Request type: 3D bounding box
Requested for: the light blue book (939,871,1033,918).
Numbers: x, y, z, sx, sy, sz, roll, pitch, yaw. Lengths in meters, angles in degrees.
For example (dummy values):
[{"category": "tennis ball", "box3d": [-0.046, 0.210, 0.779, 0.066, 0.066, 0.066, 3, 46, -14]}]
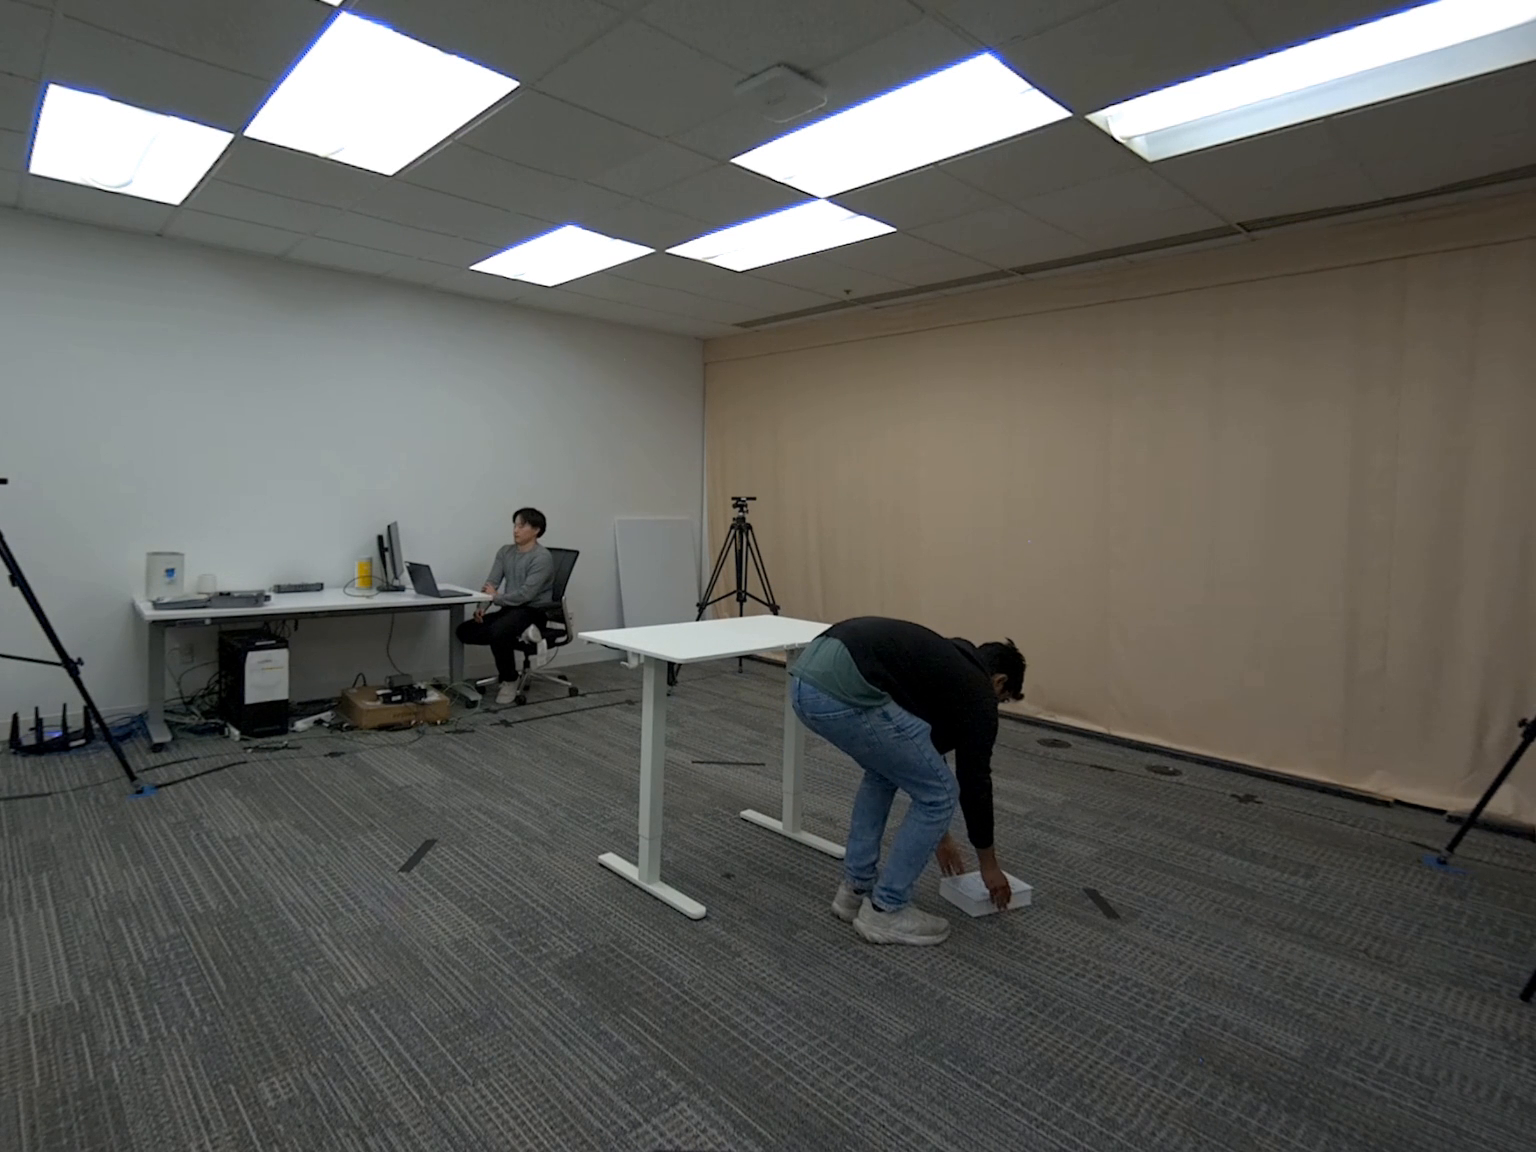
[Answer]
[{"category": "light blue book", "box3d": [0.759, 1.103, 2.969, 0.256, 0.059, 0.195, -2, 6, -26]}]
